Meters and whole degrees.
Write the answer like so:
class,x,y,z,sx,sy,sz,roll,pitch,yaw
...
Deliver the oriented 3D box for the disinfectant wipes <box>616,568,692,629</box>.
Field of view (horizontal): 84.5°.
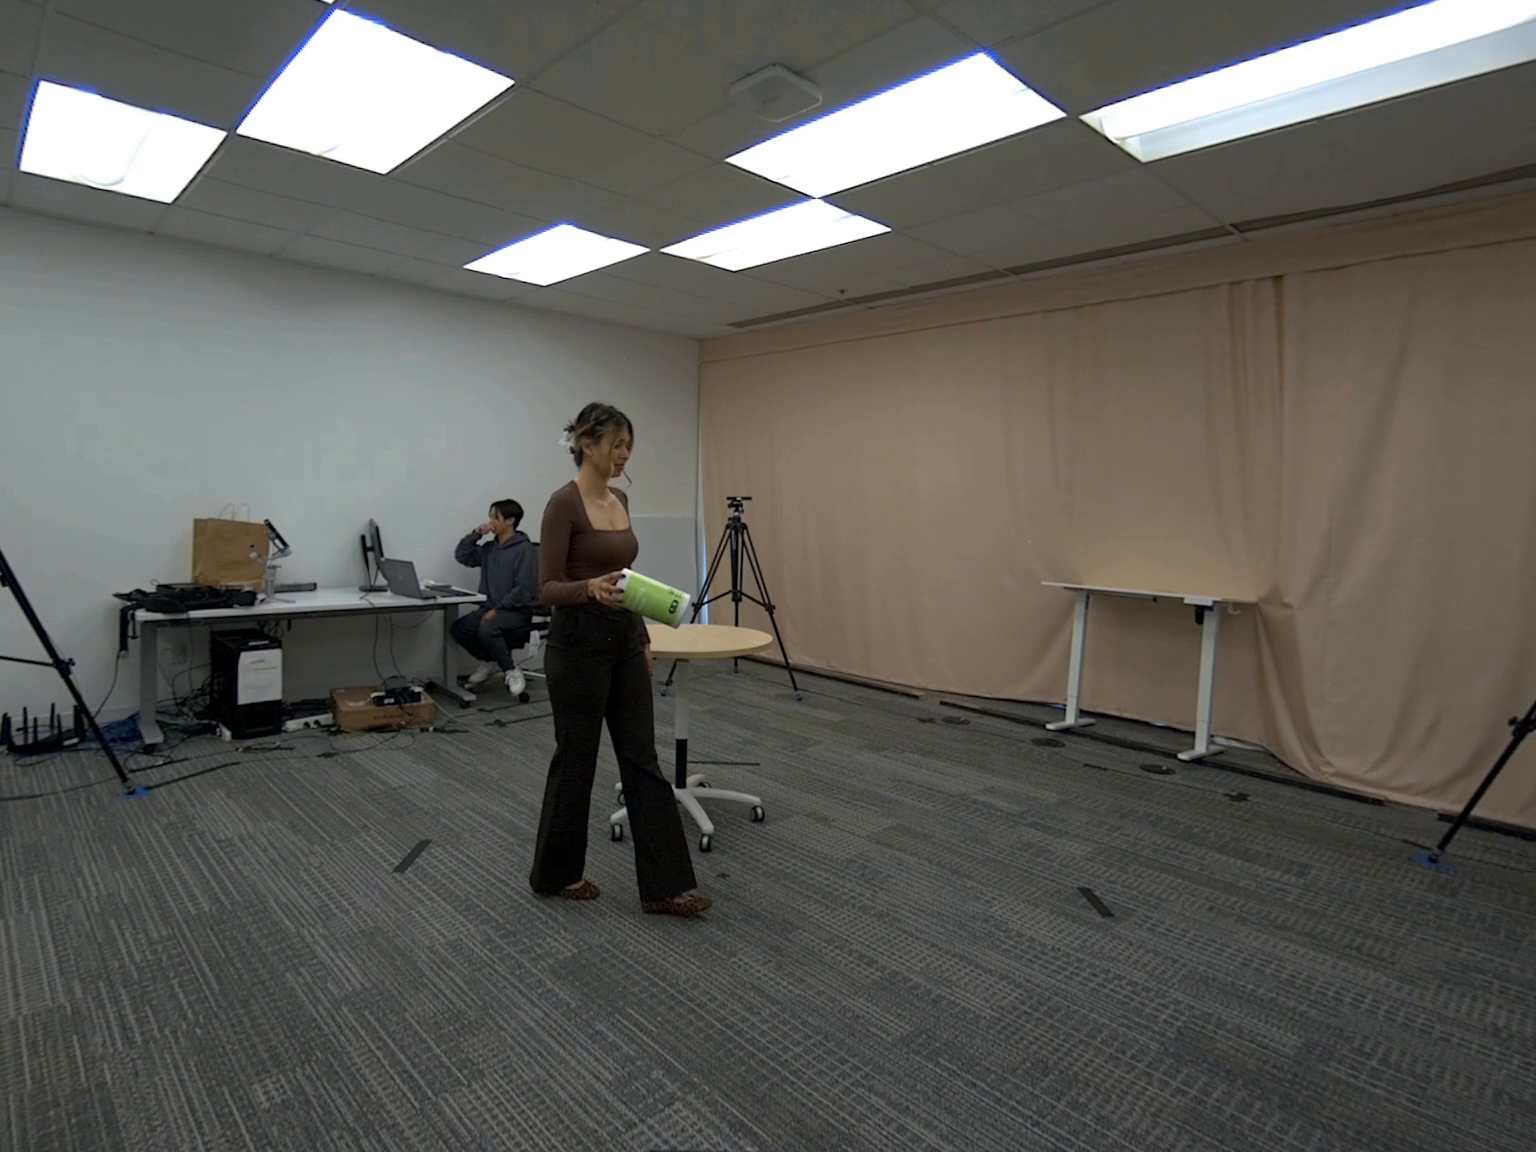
class,x,y,z,sx,sy,sz,roll,pitch,yaw
disinfectant wipes,-0.344,0.065,2.448,0.216,0.117,0.118,24,2,-4
